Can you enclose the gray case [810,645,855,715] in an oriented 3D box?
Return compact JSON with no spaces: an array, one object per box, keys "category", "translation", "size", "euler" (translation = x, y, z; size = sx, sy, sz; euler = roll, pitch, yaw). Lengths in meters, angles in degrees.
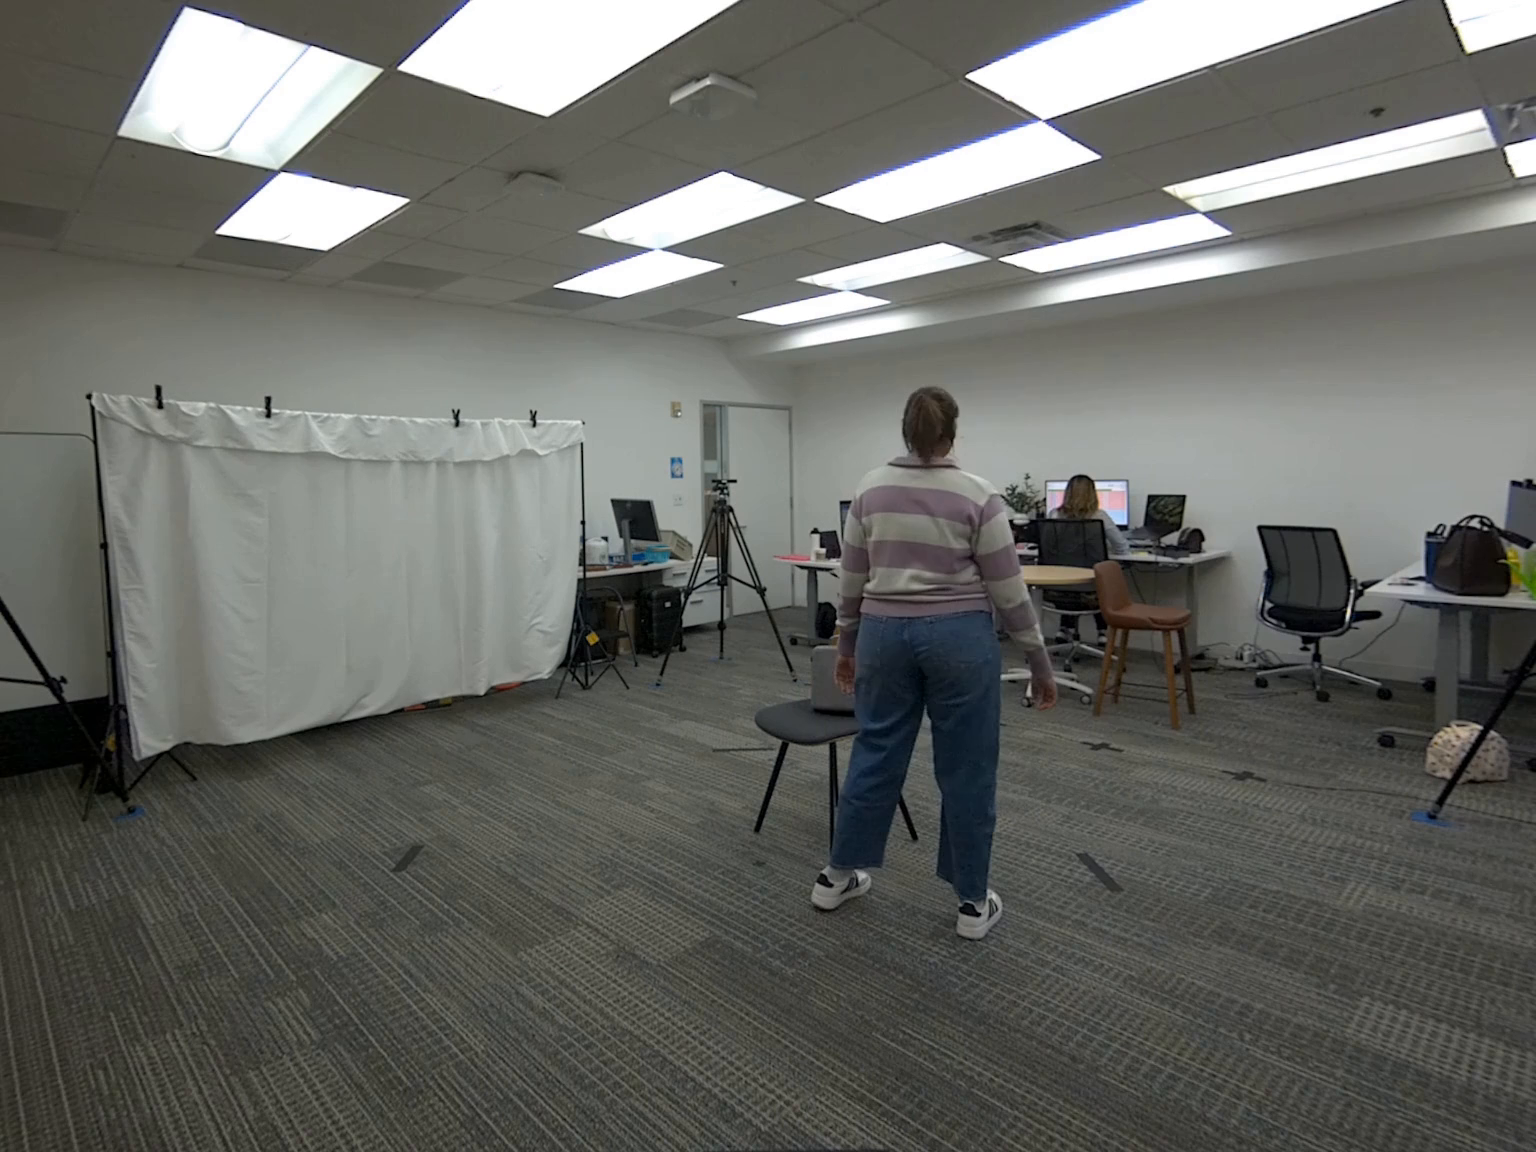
[{"category":"gray case","translation":[0.306,0.404,3.378],"size":[0.261,0.262,0.102],"euler":[1,-5,15]}]
